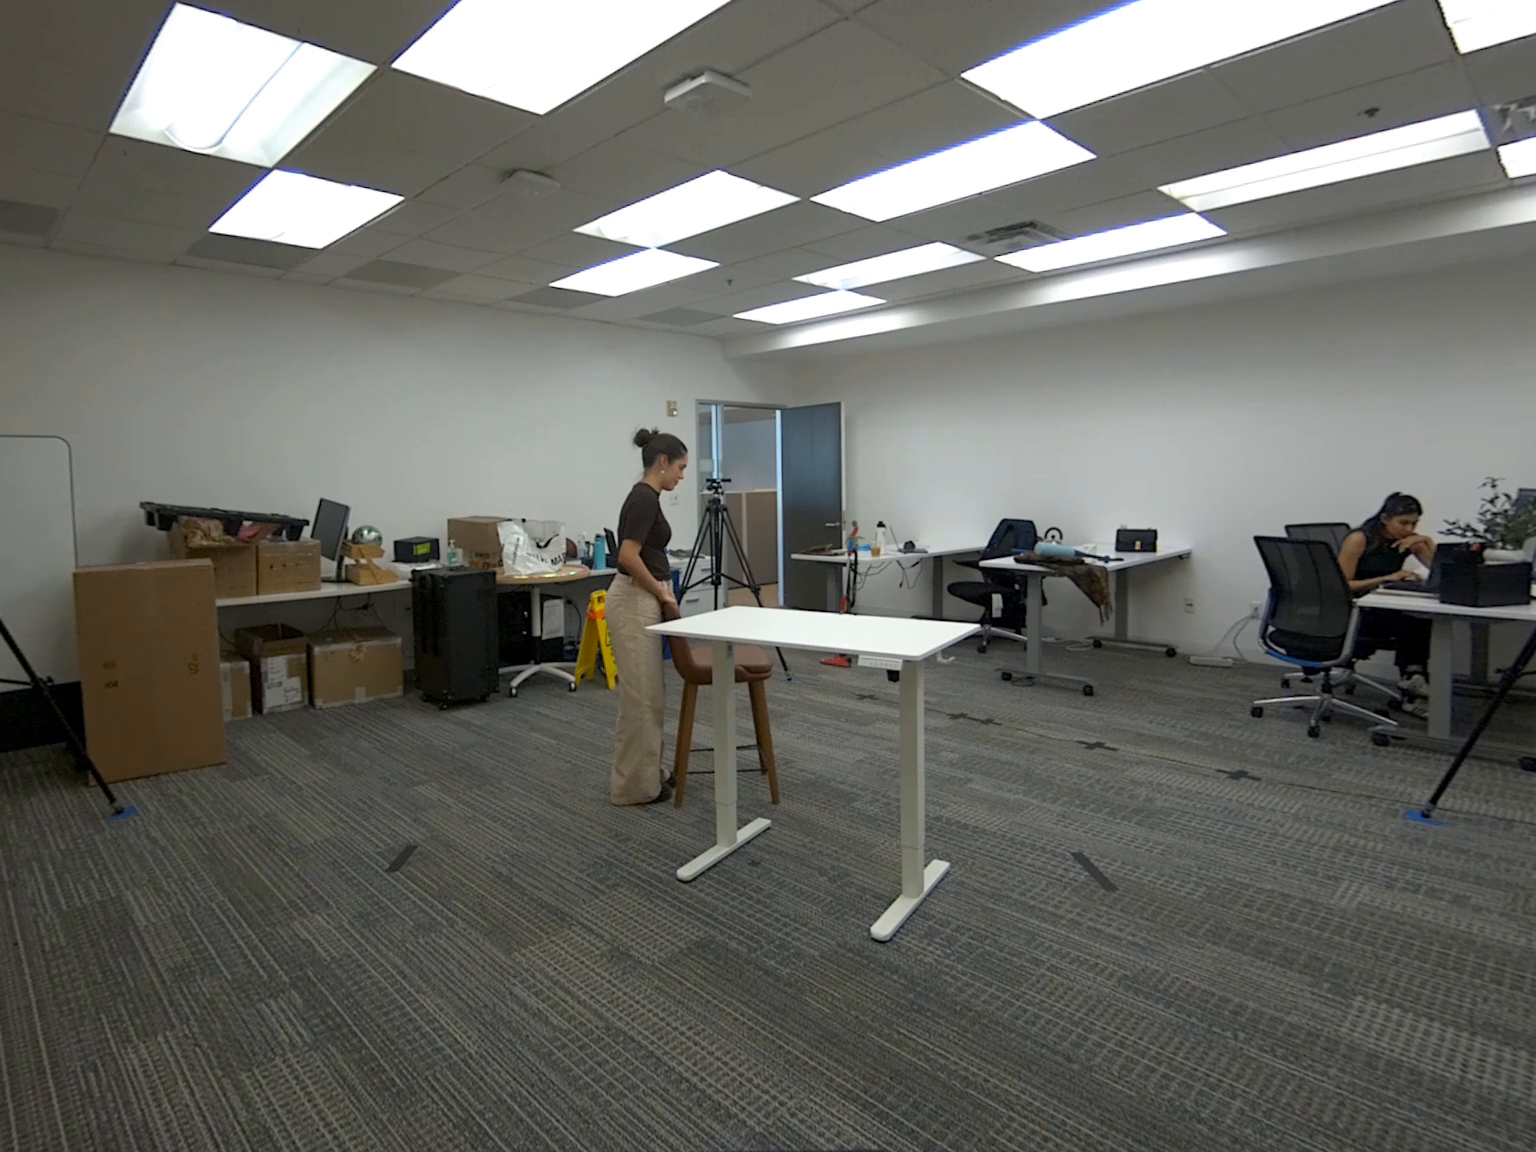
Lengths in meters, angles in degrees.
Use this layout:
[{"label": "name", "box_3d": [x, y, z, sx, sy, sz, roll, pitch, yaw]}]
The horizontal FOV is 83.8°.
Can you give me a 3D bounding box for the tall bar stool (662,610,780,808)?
[{"label": "tall bar stool", "box_3d": [-0.216, 0.527, 3.831, 0.466, 0.888, 0.459, -3, 3, -5]}]
